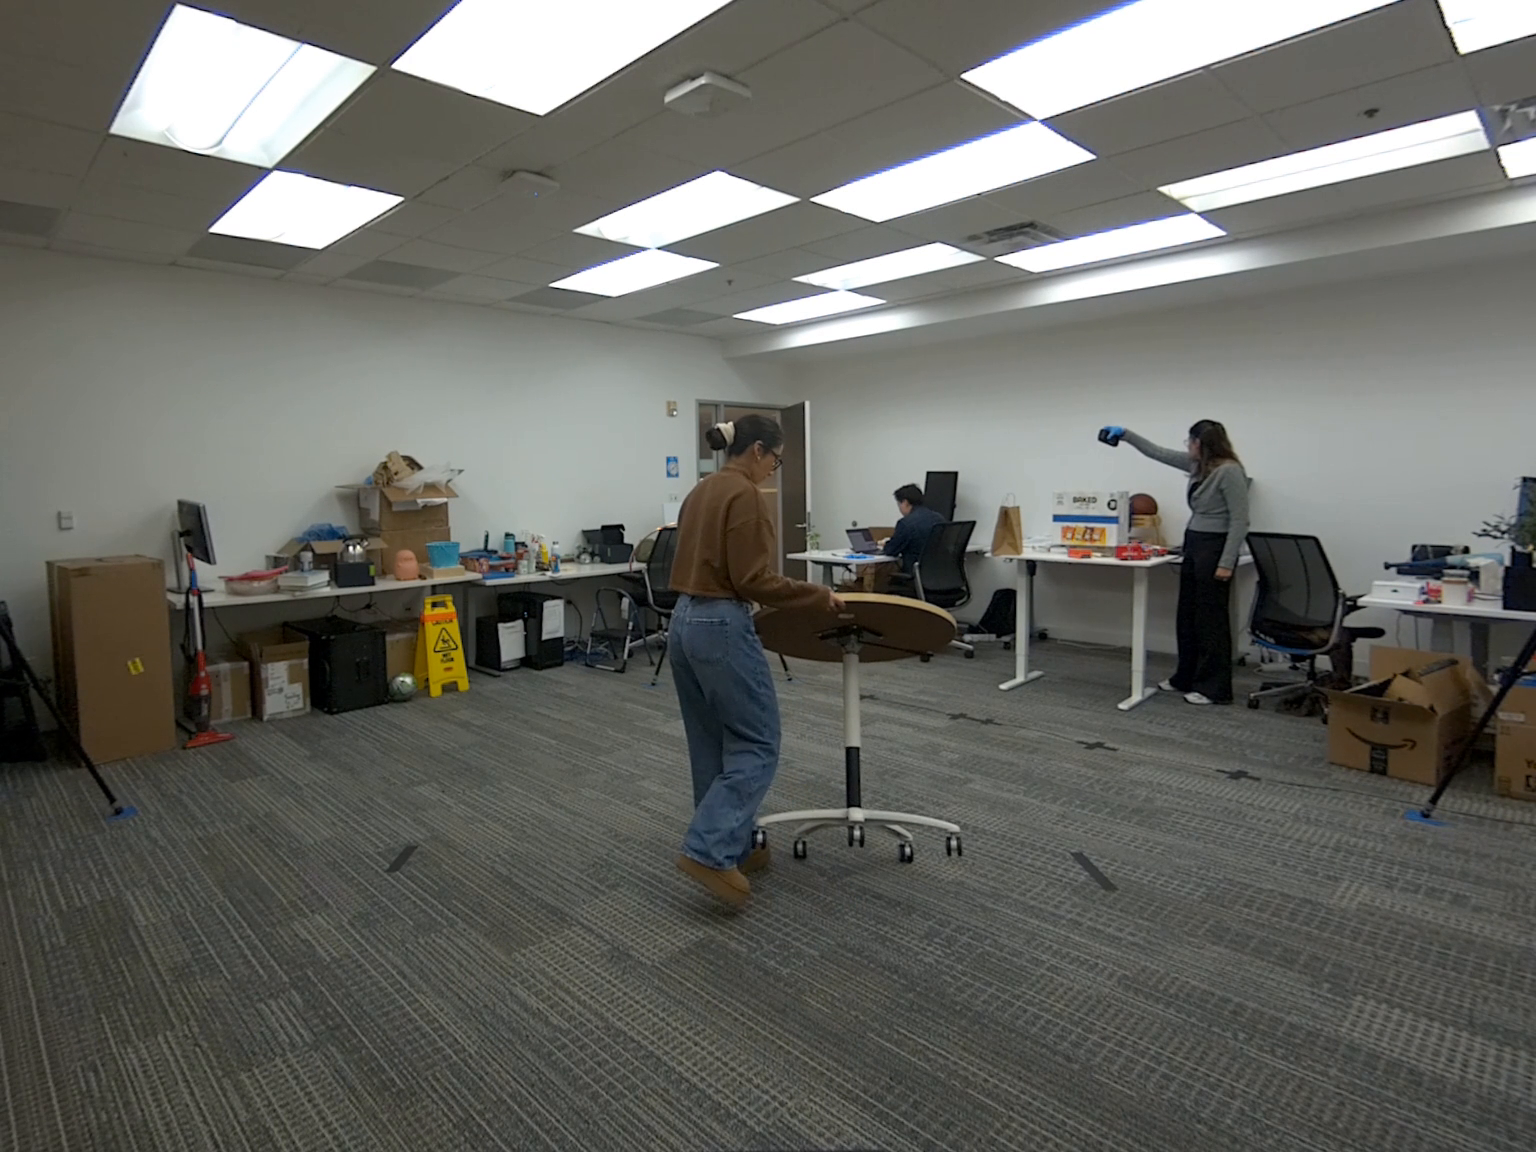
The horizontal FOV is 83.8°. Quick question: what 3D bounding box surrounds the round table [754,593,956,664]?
[{"bbox_3d":[0.307,0.566,3.017,0.764,0.809,0.750,2,-22,-1],"label":"round table"}]
